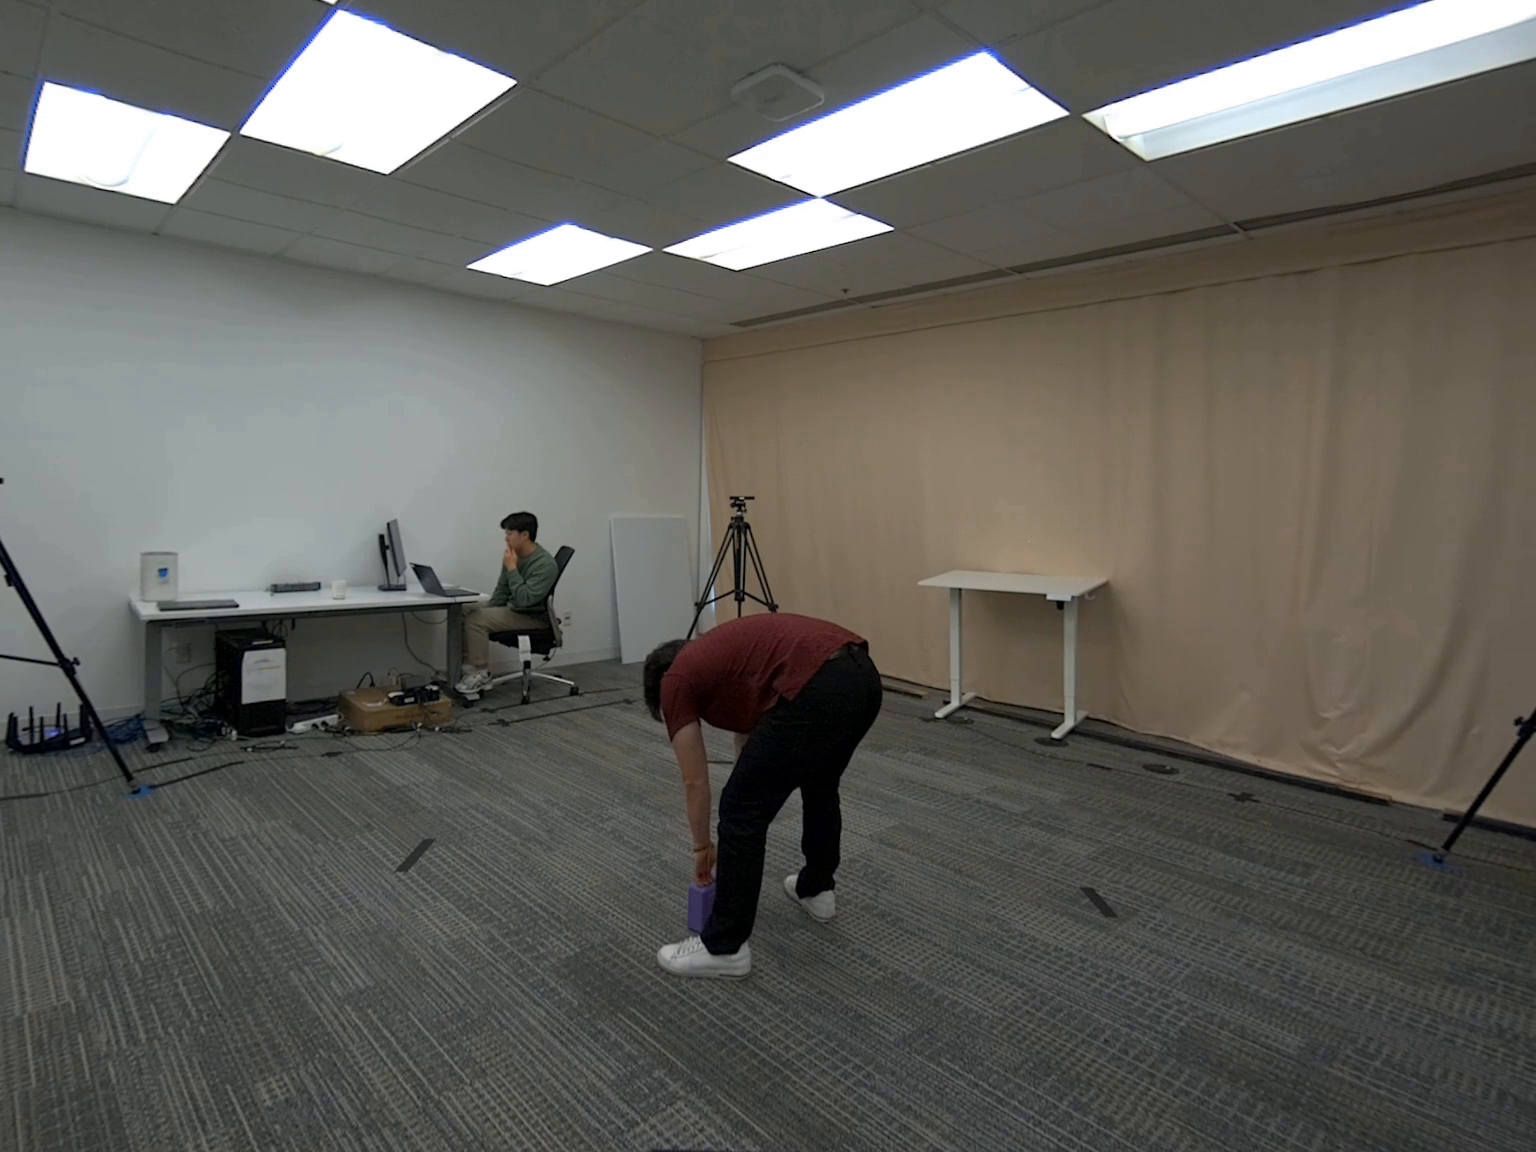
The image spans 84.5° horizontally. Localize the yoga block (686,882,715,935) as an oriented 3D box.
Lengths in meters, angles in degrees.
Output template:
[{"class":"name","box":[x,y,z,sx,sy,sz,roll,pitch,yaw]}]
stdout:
[{"class":"yoga block","box":[-0.165,1.062,2.769,0.078,0.148,0.224,4,5,35]}]
